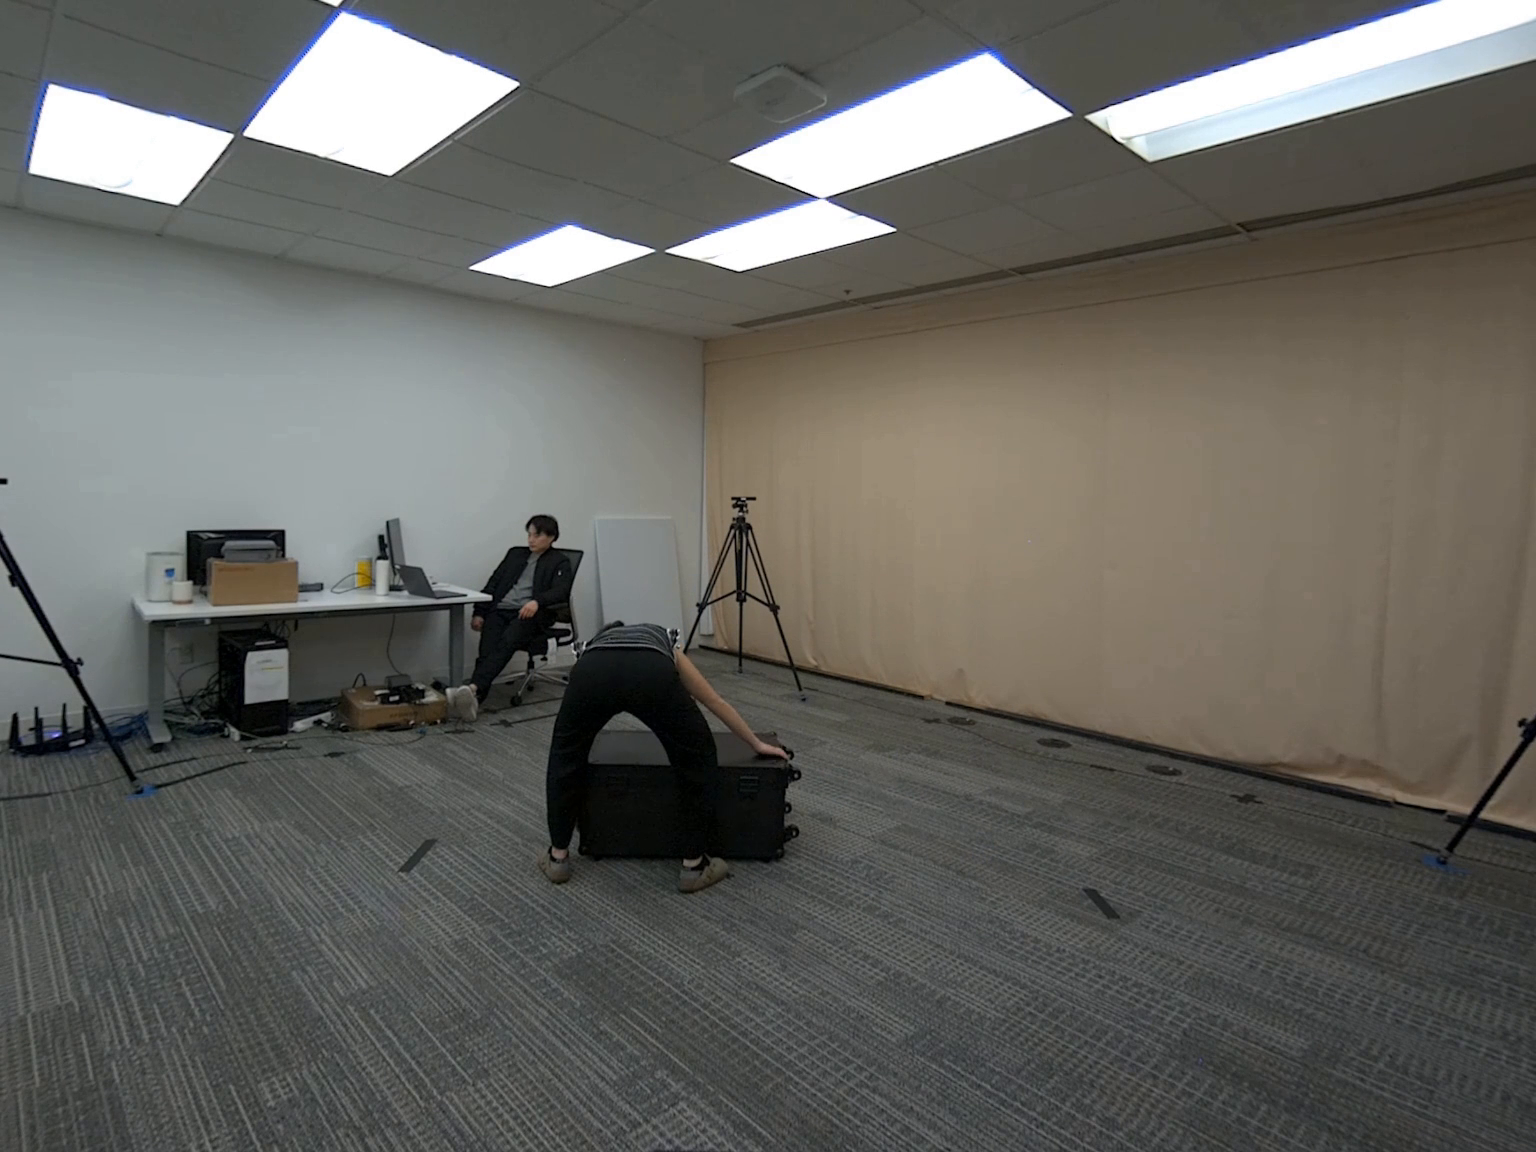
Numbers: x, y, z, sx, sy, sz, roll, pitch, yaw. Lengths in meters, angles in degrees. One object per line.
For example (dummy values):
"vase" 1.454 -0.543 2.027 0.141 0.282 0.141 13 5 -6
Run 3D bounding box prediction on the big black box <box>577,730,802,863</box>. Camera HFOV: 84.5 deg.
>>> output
"big black box" -0.313 0.884 3.439 0.859 0.395 0.524 1 5 -4
